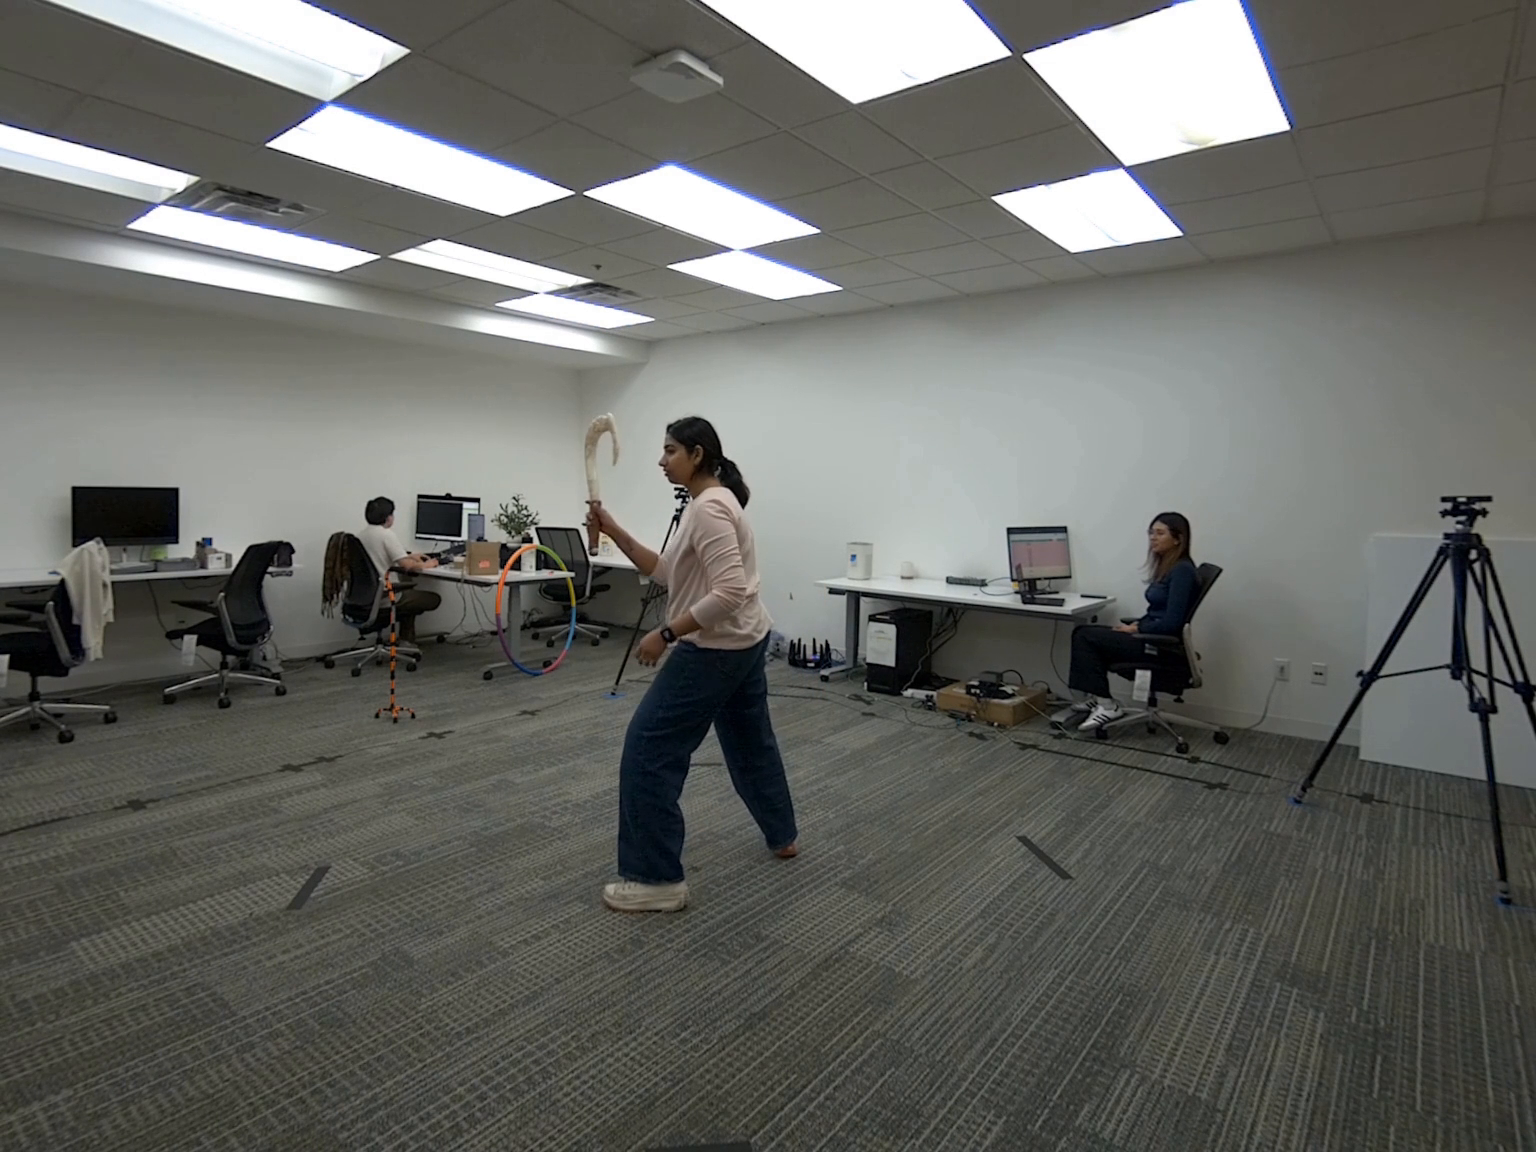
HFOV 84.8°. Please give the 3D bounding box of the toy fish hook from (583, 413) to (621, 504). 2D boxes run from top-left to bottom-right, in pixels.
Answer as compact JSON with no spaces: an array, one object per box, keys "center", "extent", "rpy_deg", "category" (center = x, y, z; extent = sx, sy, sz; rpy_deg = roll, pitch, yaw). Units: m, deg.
[{"center":[-0.613,-0.325,3.040],"extent":[0.047,0.509,0.231],"rpy_deg":[2,-5,-37],"category":"toy fish hook"}]
